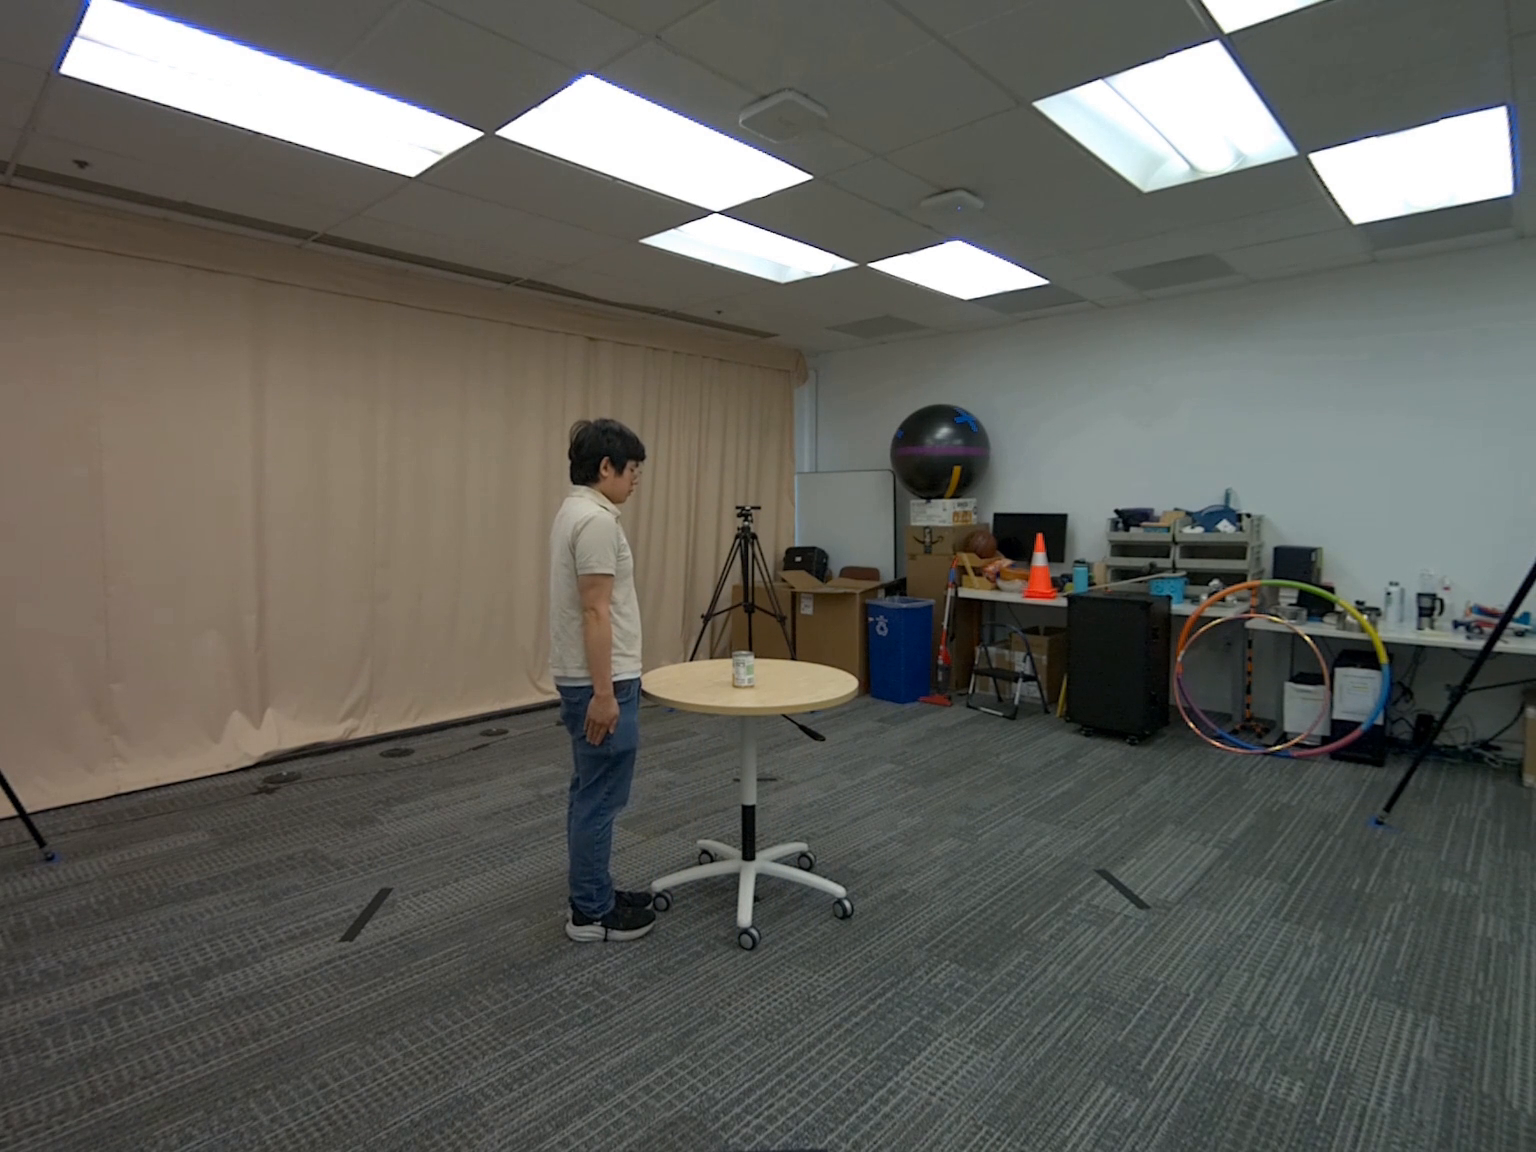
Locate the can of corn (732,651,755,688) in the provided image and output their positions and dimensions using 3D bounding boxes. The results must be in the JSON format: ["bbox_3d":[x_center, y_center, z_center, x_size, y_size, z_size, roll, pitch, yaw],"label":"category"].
[{"bbox_3d":[-0.084,0.322,2.842,0.074,0.111,0.074,-5,4,-2],"label":"can of corn"}]
